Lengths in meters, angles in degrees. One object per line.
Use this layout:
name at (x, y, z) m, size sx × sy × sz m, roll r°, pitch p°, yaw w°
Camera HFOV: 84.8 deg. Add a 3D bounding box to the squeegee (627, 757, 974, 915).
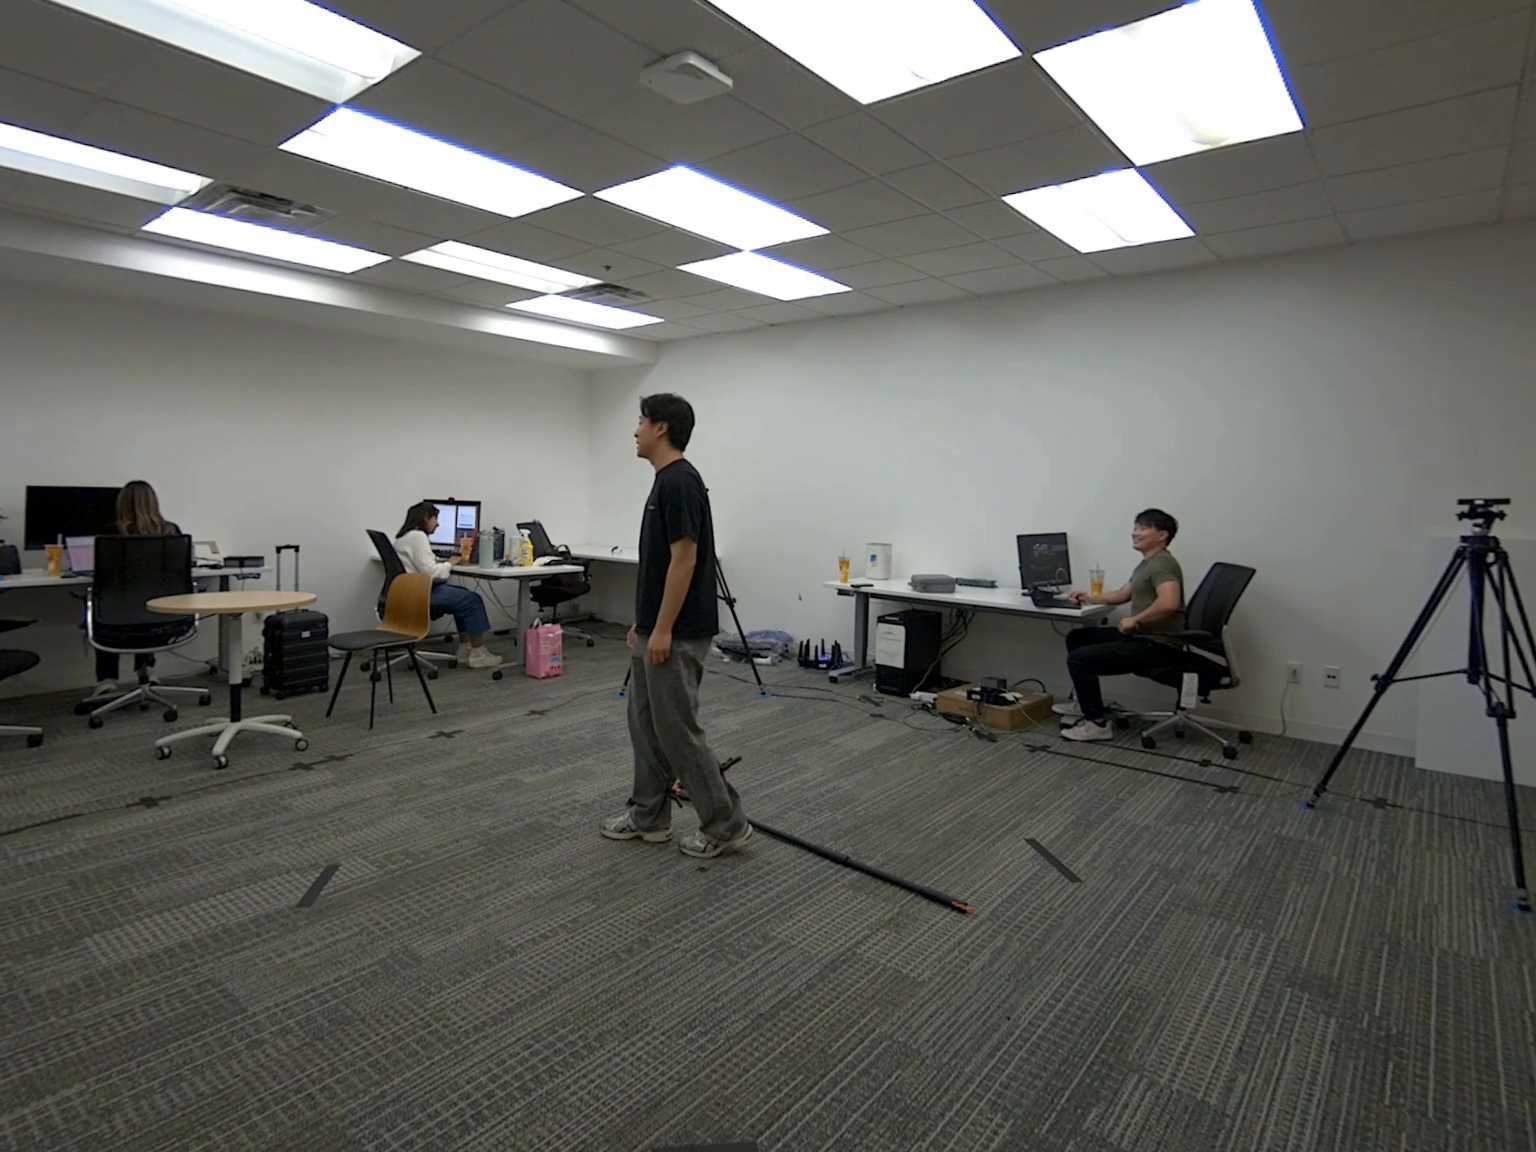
squeegee at (0.089, 1.018, 3.348) m, size 1.592 × 0.052 × 0.425 m, roll 8°, pitch 11°, yaw 42°
